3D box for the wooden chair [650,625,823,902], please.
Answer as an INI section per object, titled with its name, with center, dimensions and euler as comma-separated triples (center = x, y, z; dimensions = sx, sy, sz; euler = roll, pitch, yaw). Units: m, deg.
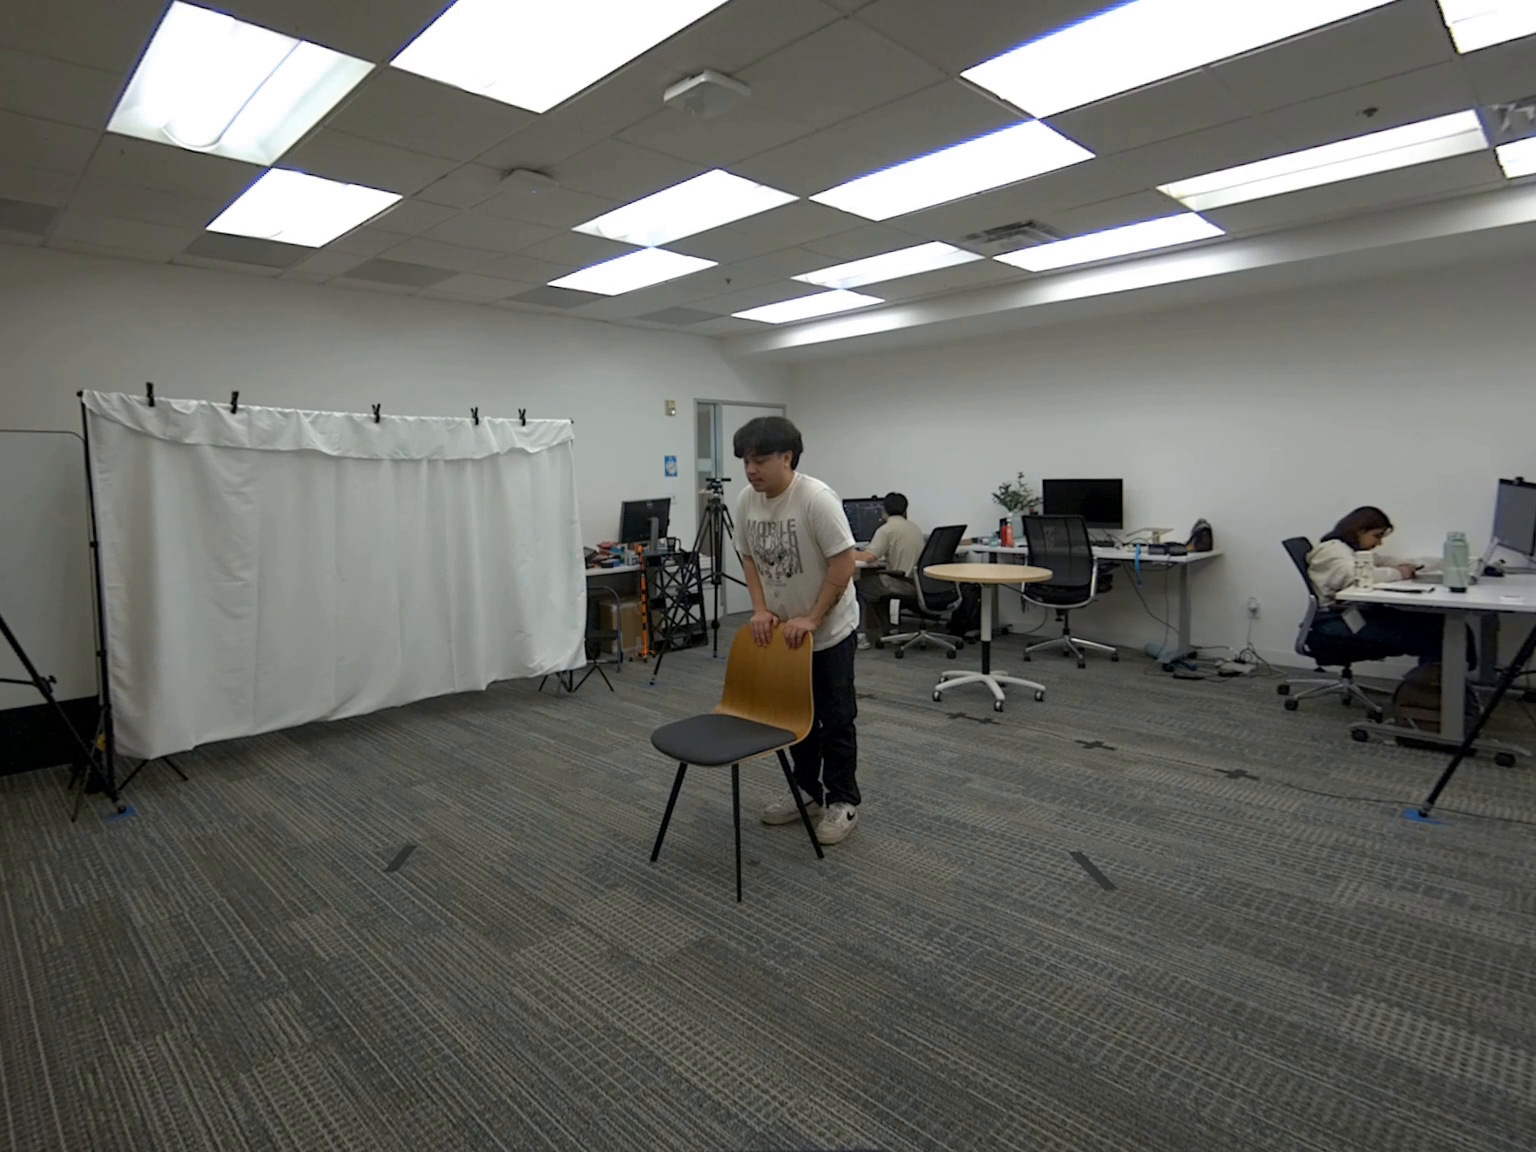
[wooden chair]
center = -0.124, 0.620, 3.093
dimensions = 0.493, 0.877, 0.508
euler = 4, 2, 43
